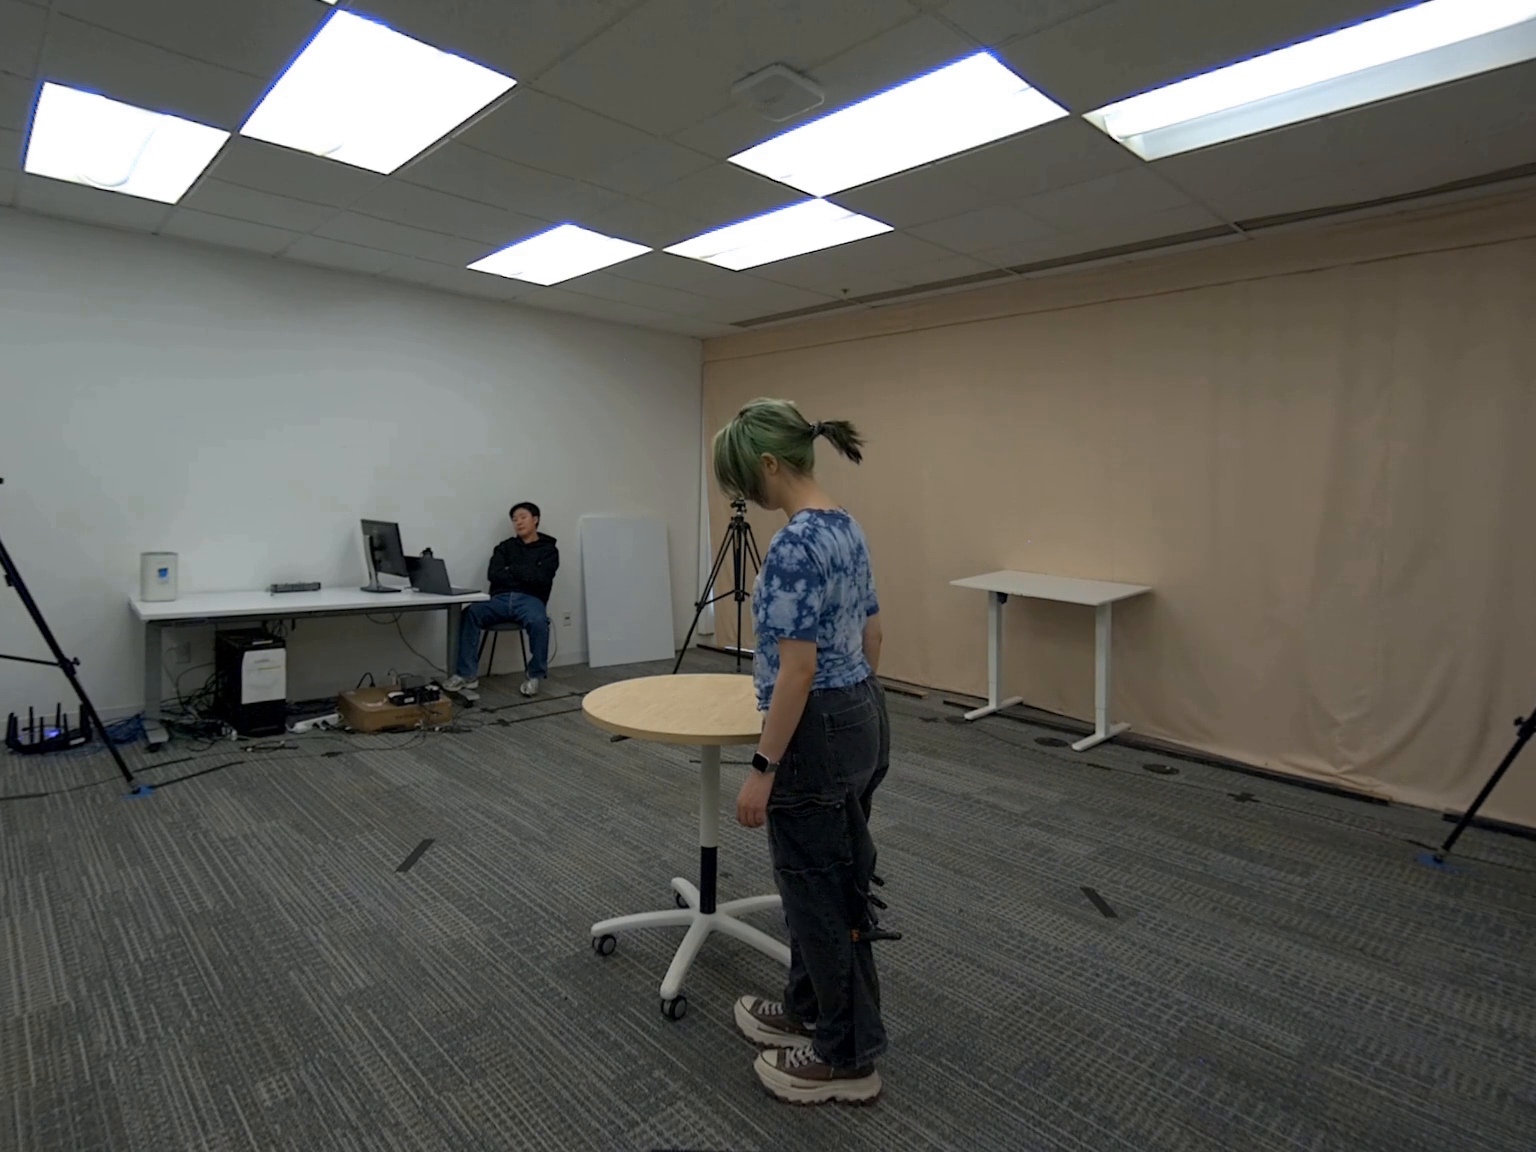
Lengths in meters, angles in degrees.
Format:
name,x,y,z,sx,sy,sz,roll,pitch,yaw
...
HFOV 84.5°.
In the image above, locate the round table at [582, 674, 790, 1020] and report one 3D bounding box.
name,x,y,z,sx,sy,sz,roll,pitch,yaw
round table,-0.181,0.764,2.542,0.763,0.792,0.766,1,4,-1
